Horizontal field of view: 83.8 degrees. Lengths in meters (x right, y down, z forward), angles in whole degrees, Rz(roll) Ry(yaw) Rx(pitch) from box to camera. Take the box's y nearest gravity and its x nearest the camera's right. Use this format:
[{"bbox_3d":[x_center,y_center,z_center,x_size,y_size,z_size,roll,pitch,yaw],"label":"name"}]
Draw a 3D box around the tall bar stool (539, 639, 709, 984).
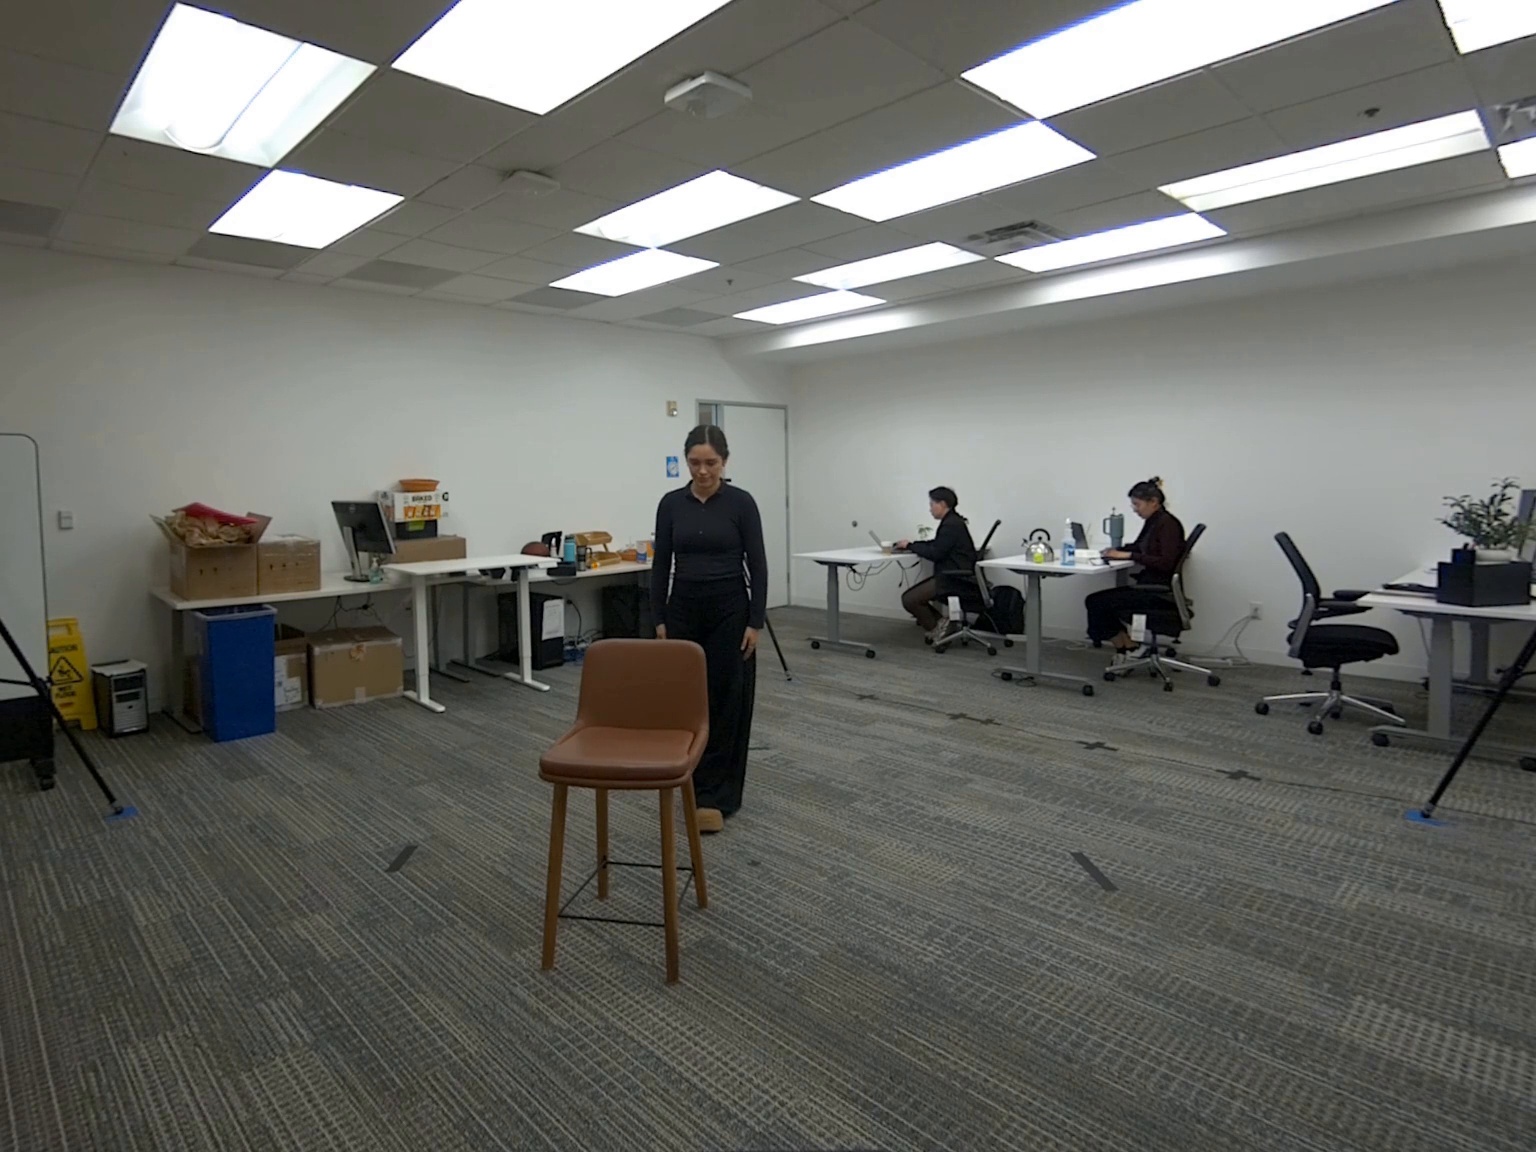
[{"bbox_3d":[-0.424,0.676,2.609,0.462,0.888,0.463,0,3,12],"label":"tall bar stool"}]
